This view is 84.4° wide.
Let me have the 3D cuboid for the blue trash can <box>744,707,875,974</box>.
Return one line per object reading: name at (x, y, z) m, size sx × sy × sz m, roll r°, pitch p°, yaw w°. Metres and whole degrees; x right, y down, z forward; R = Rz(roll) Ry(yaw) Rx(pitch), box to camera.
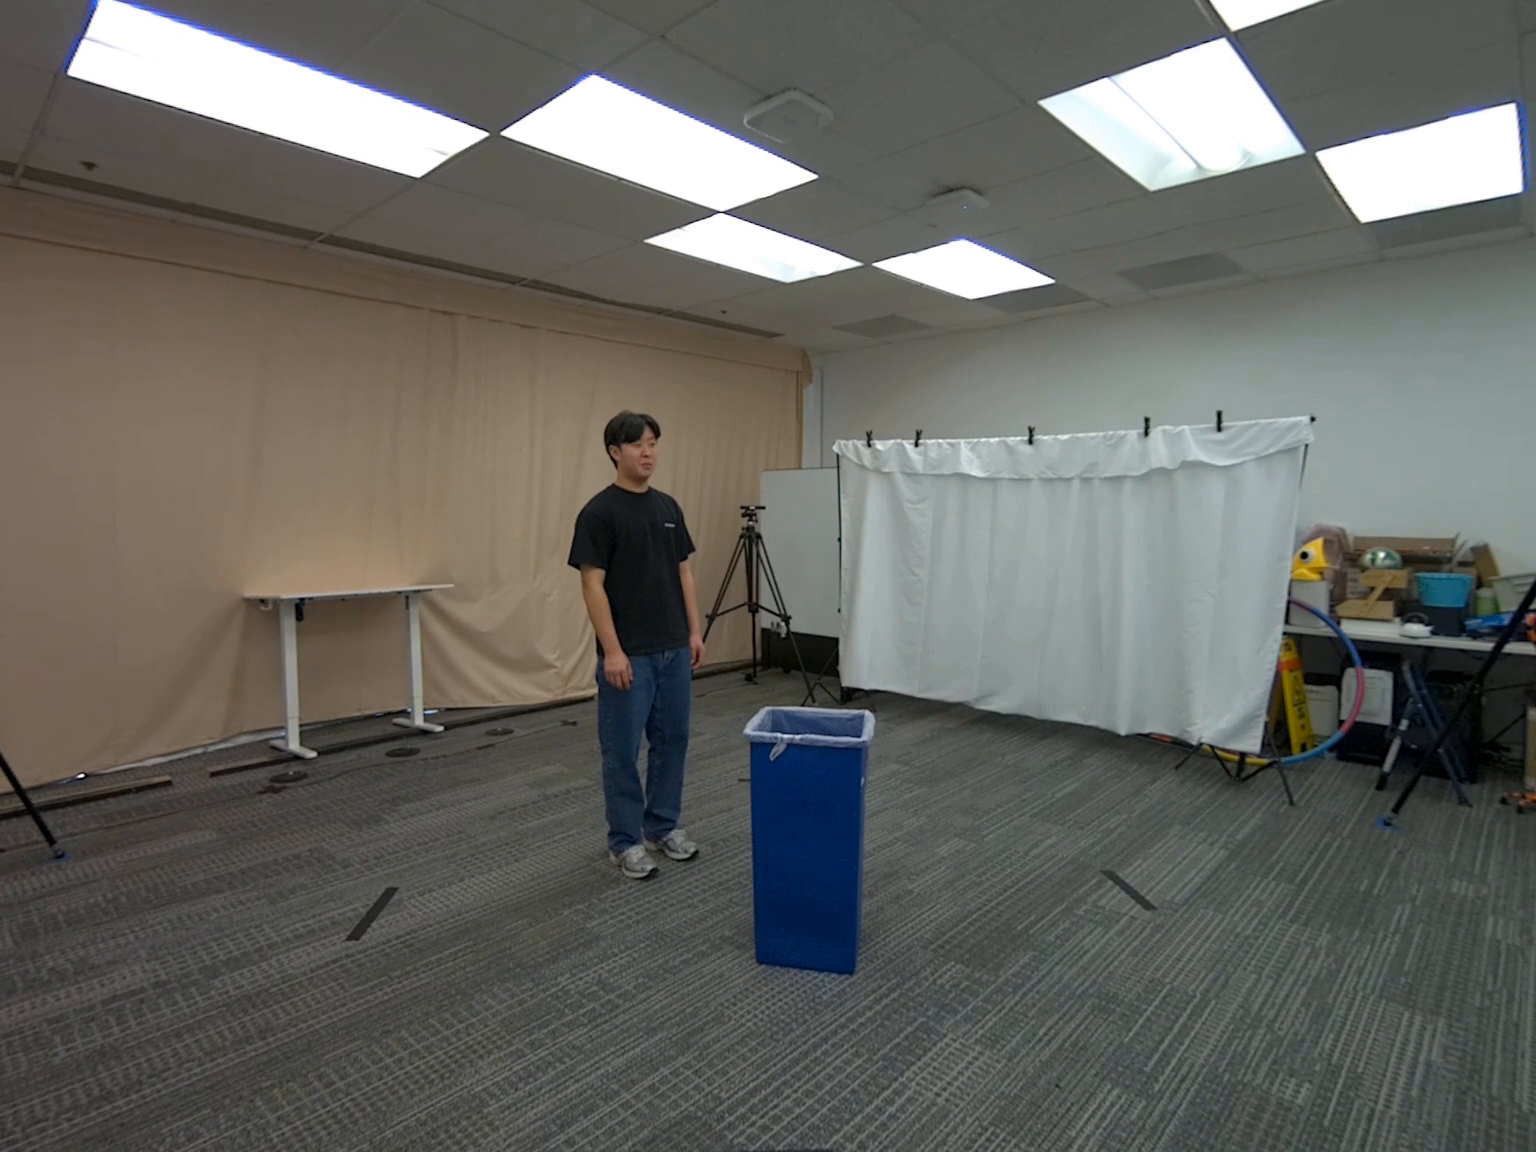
blue trash can at (0.142, 0.812, 2.649) m, size 0.383 × 0.713 × 0.369 m, roll 1°, pitch 2°, yaw 11°
